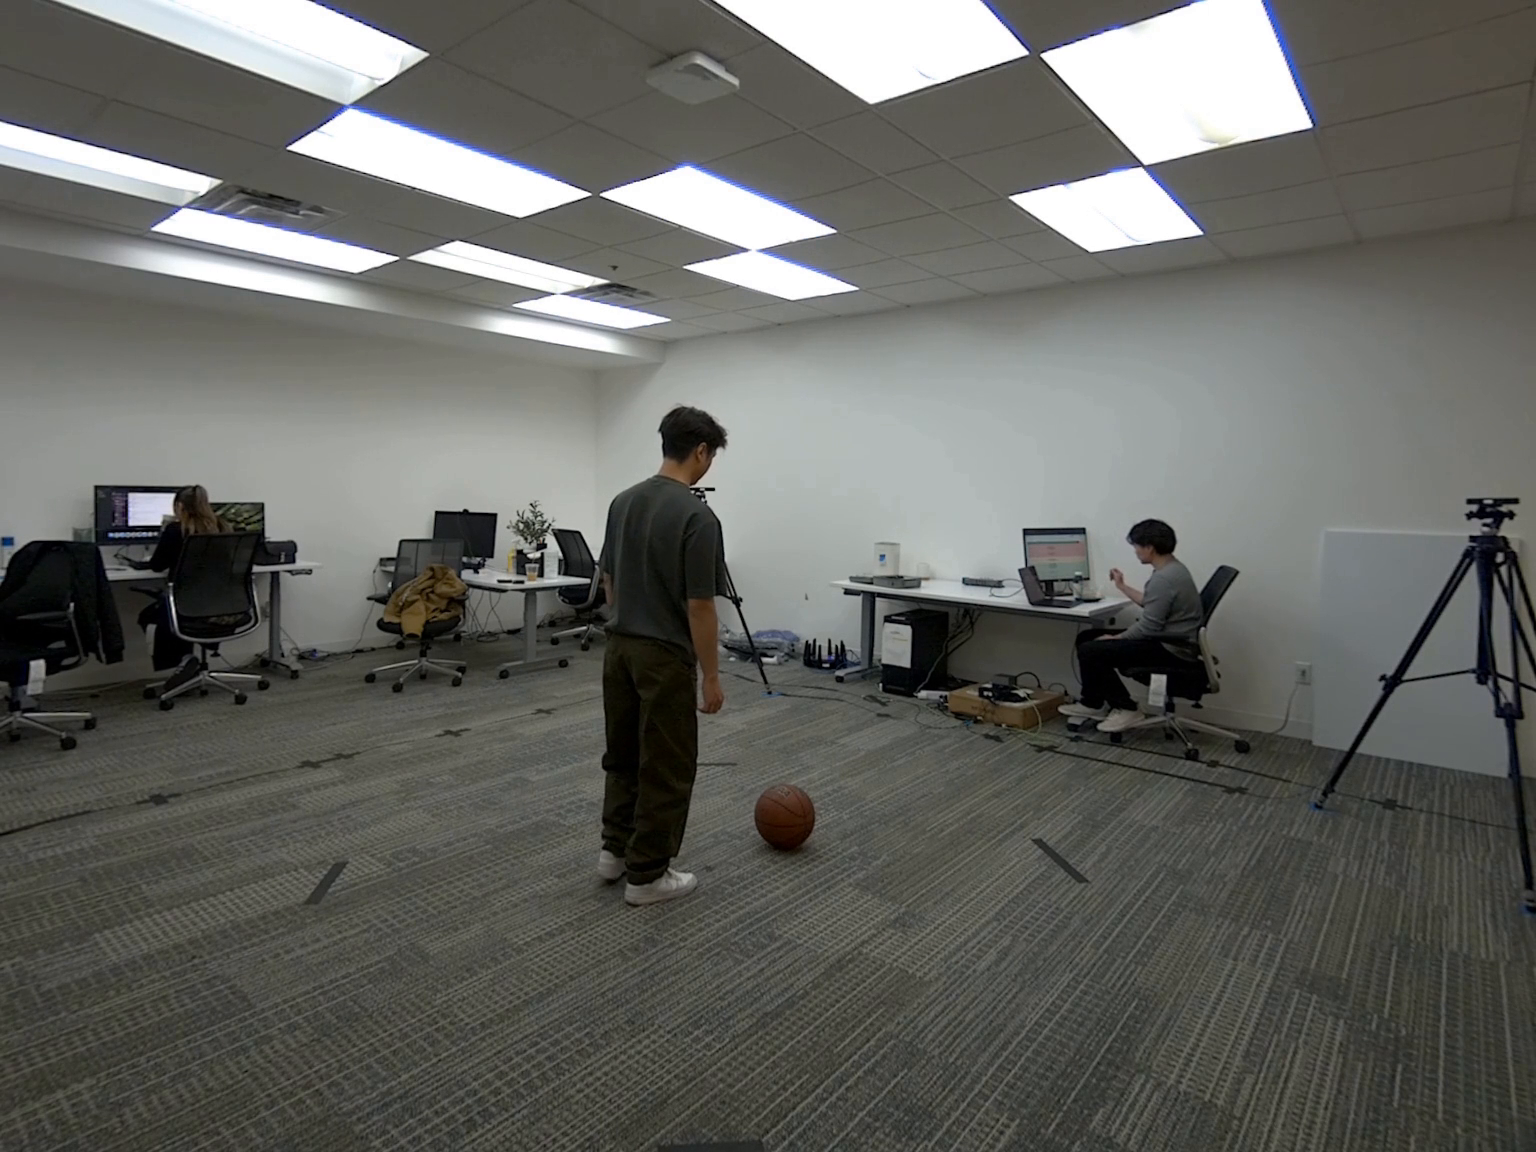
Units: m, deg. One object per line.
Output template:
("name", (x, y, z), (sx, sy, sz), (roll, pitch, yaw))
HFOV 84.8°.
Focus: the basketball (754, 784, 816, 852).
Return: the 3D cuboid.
("basketball", (0.051, 0.925, 3.317), (0.235, 0.235, 0.237), (1, 4, -2))
